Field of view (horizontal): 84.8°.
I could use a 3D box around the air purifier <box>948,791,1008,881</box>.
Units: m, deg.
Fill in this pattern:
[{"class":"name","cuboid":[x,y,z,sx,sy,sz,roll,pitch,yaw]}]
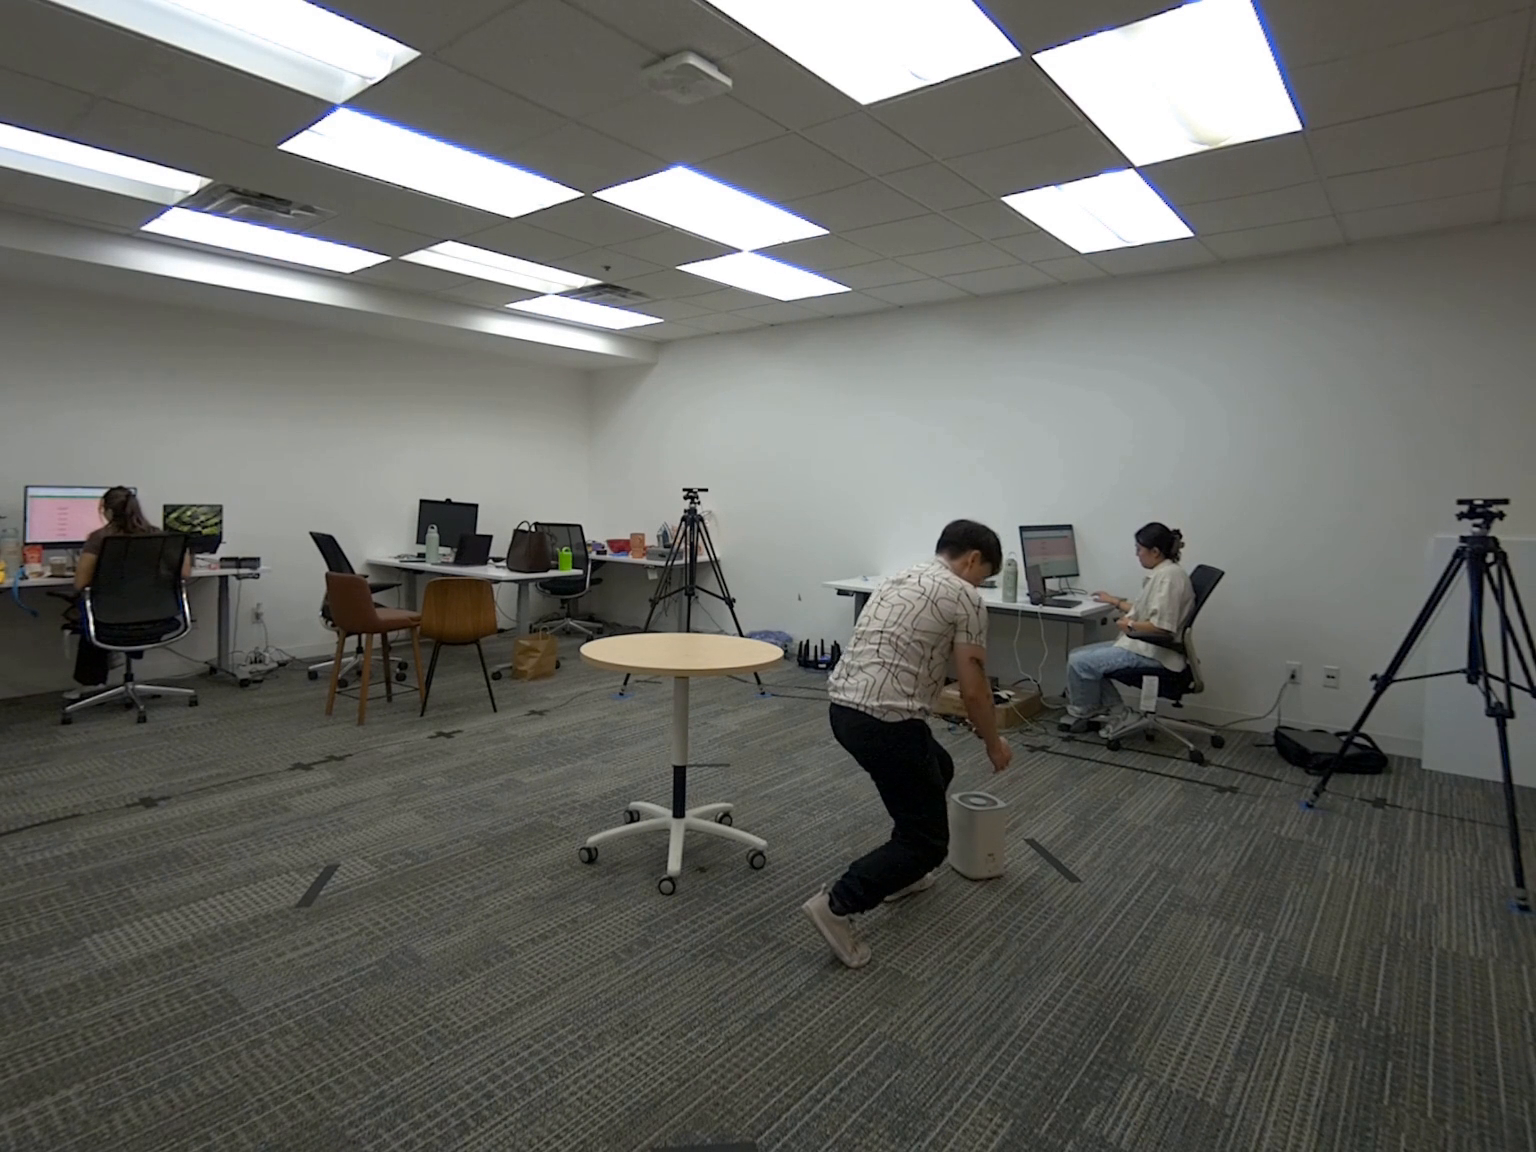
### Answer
[{"class":"air purifier","cuboid":[0.766,0.957,3.148,0.167,0.264,0.176,0,4,-24]}]
